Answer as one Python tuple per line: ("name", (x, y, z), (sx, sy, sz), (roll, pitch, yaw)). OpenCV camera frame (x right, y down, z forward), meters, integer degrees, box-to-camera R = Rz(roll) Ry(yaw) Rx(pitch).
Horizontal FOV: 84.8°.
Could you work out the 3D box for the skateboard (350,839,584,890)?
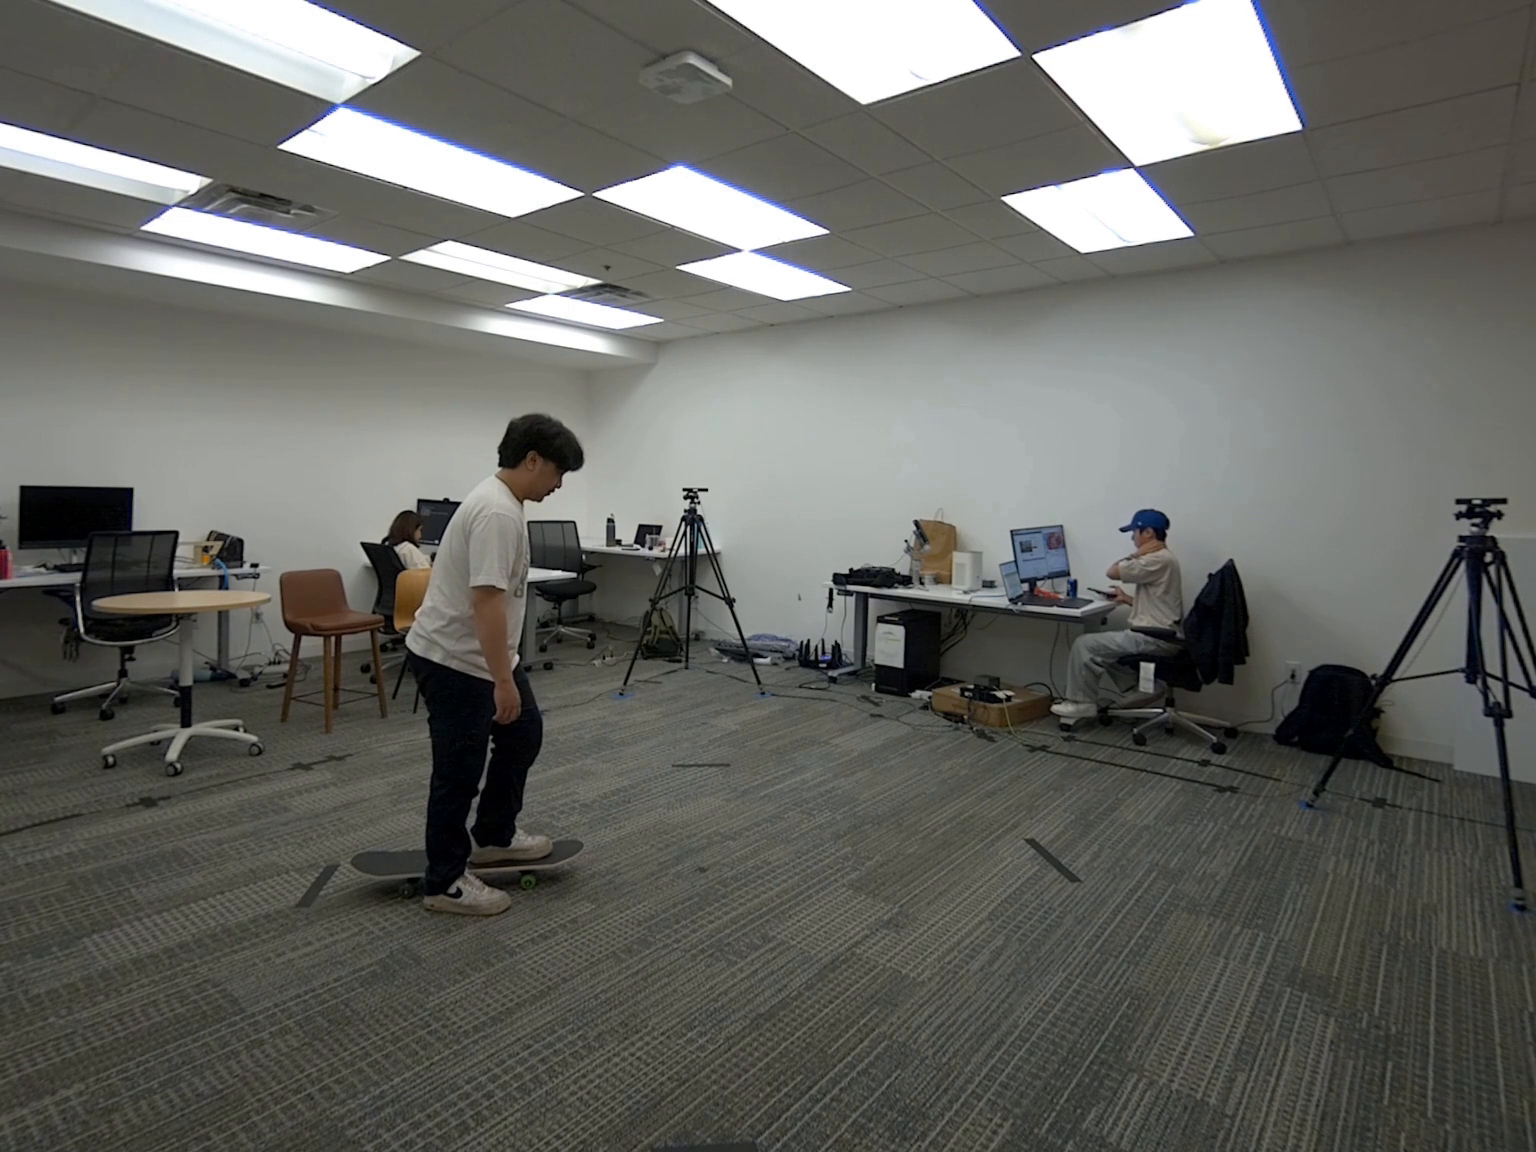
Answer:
("skateboard", (-1.048, 1.013, 2.967), (0.776, 0.110, 0.197), (0, 6, -11))
